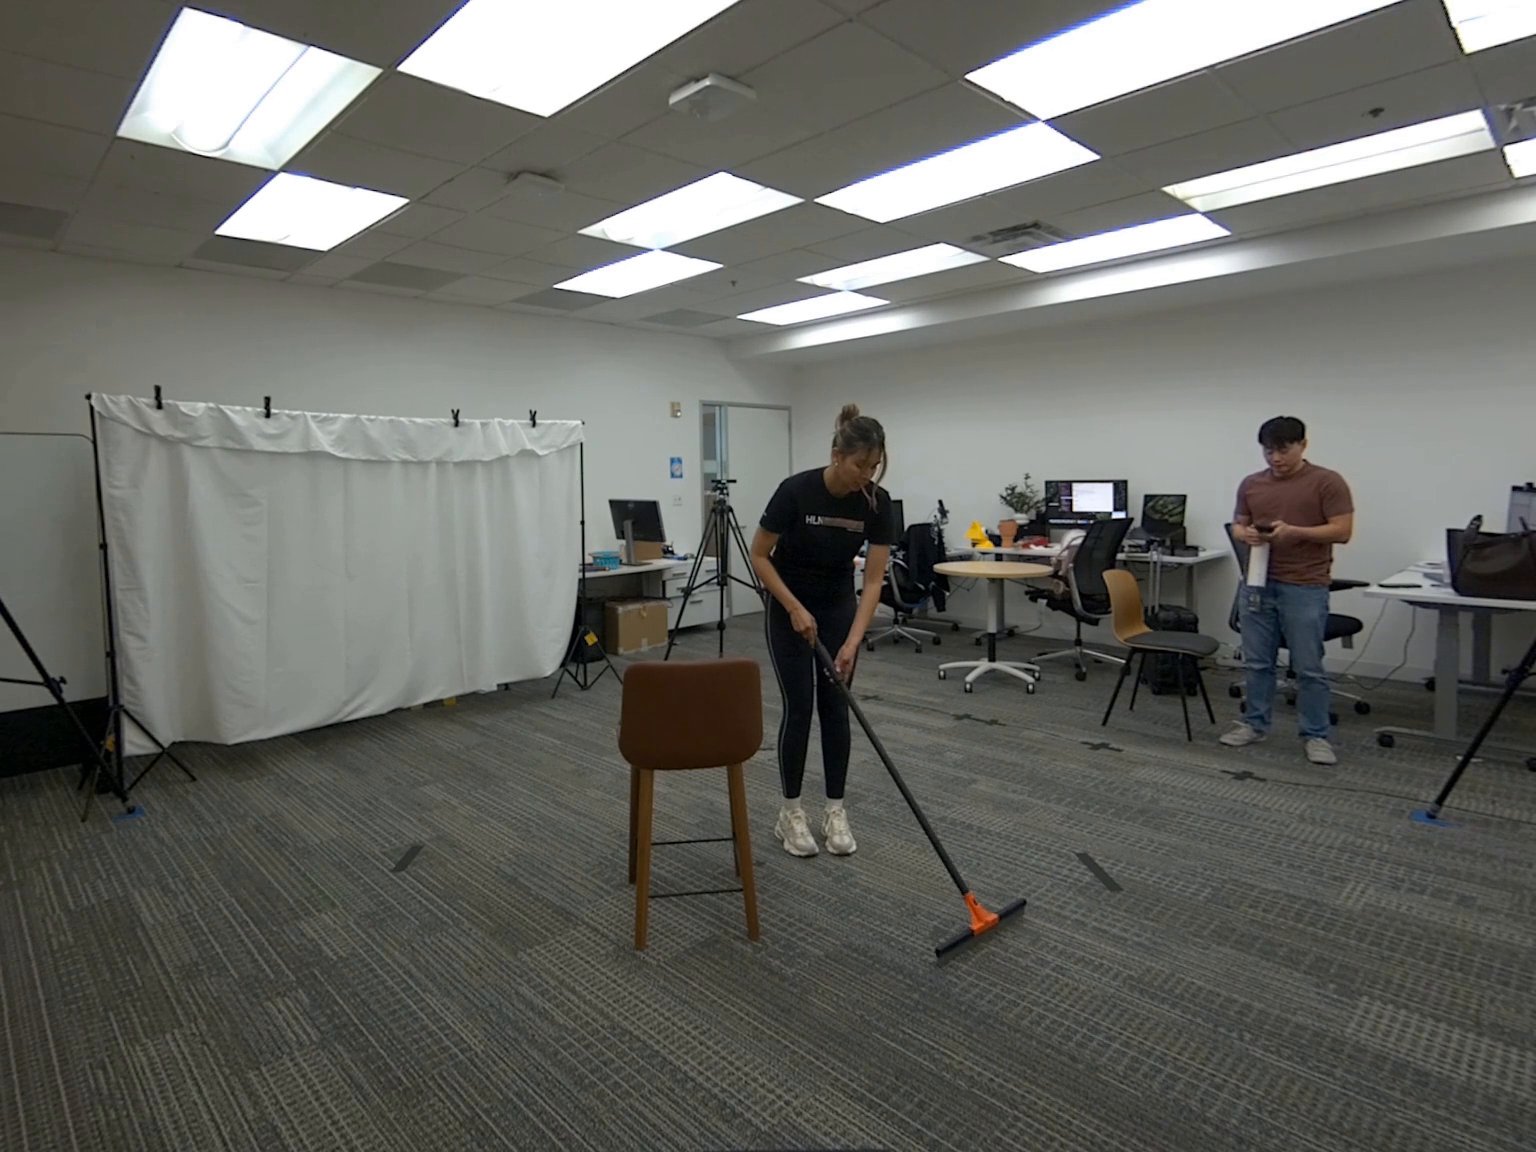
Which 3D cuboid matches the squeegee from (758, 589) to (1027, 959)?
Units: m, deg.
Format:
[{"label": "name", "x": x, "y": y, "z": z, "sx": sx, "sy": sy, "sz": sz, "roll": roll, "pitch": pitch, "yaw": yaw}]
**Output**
[{"label": "squeegee", "x": 0.312, "y": 0.452, "z": 2.923, "sx": 0.426, "sy": 1.587, "sz": 0.052, "roll": -5, "pitch": -37, "yaw": -39}]
